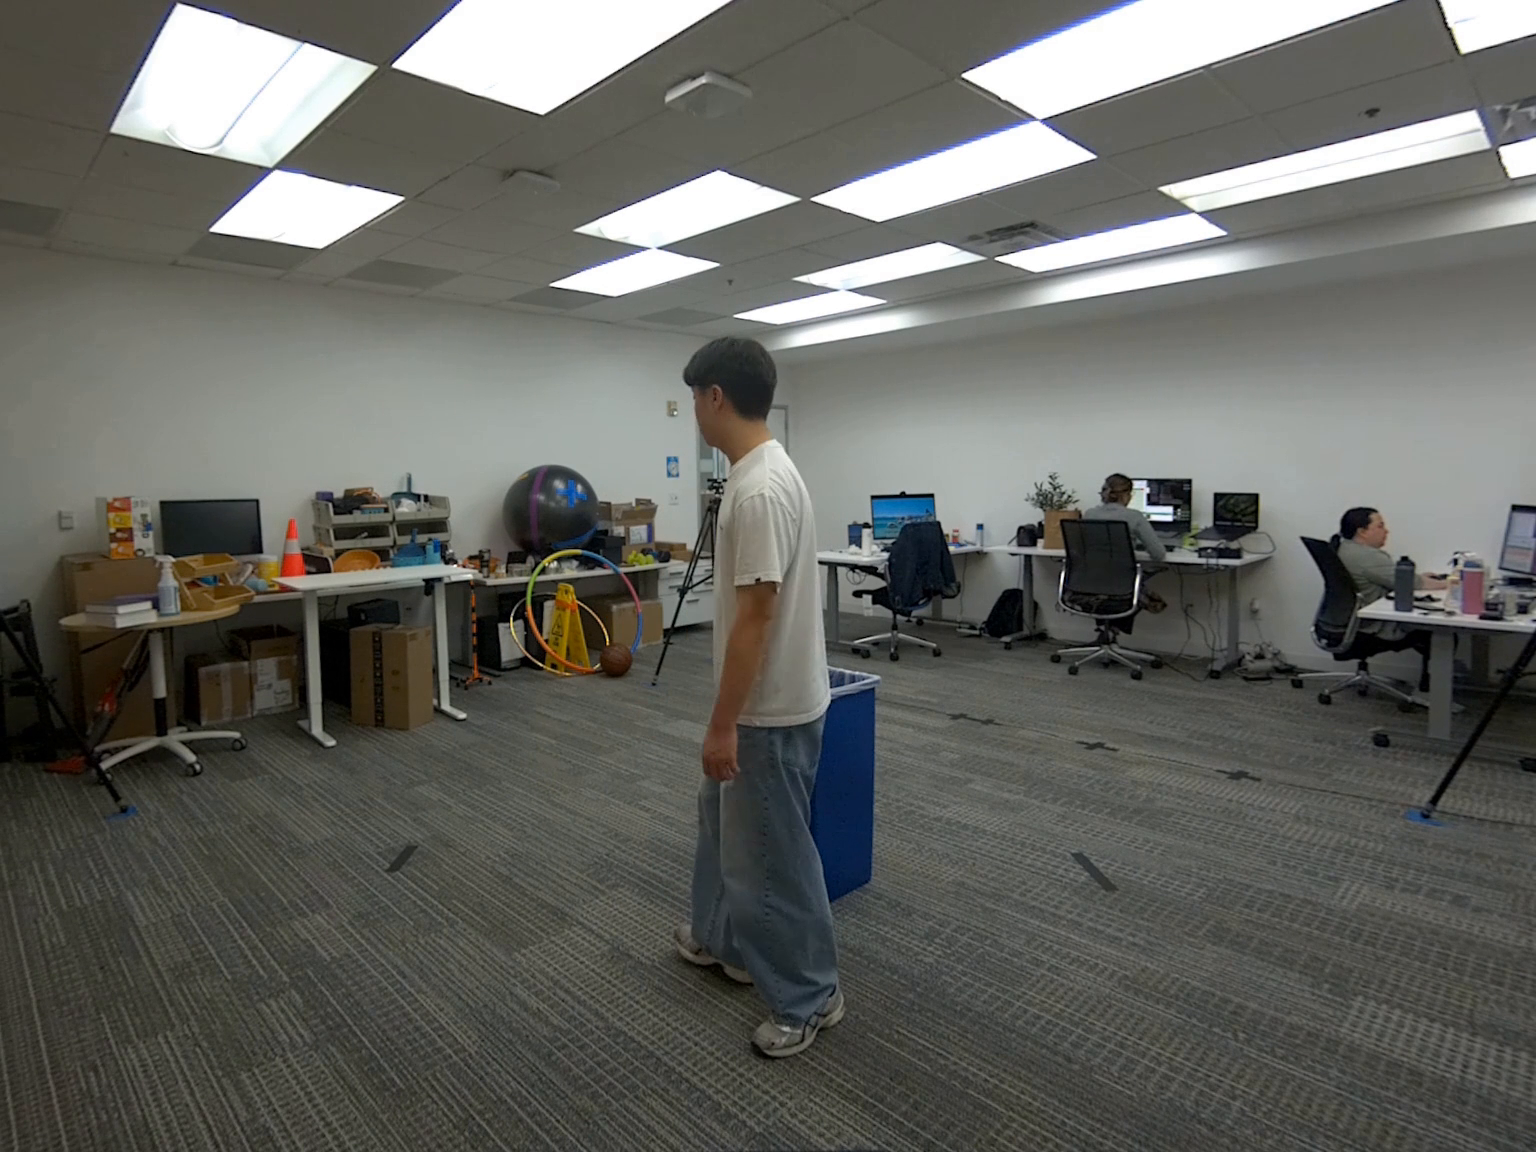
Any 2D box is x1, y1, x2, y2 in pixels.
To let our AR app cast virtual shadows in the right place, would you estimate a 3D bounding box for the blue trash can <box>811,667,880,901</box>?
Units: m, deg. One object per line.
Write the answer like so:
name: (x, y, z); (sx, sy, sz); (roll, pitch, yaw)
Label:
blue trash can: (0.148, 0.703, 2.942); (0.364, 0.711, 0.389); (-4, 5, -43)
